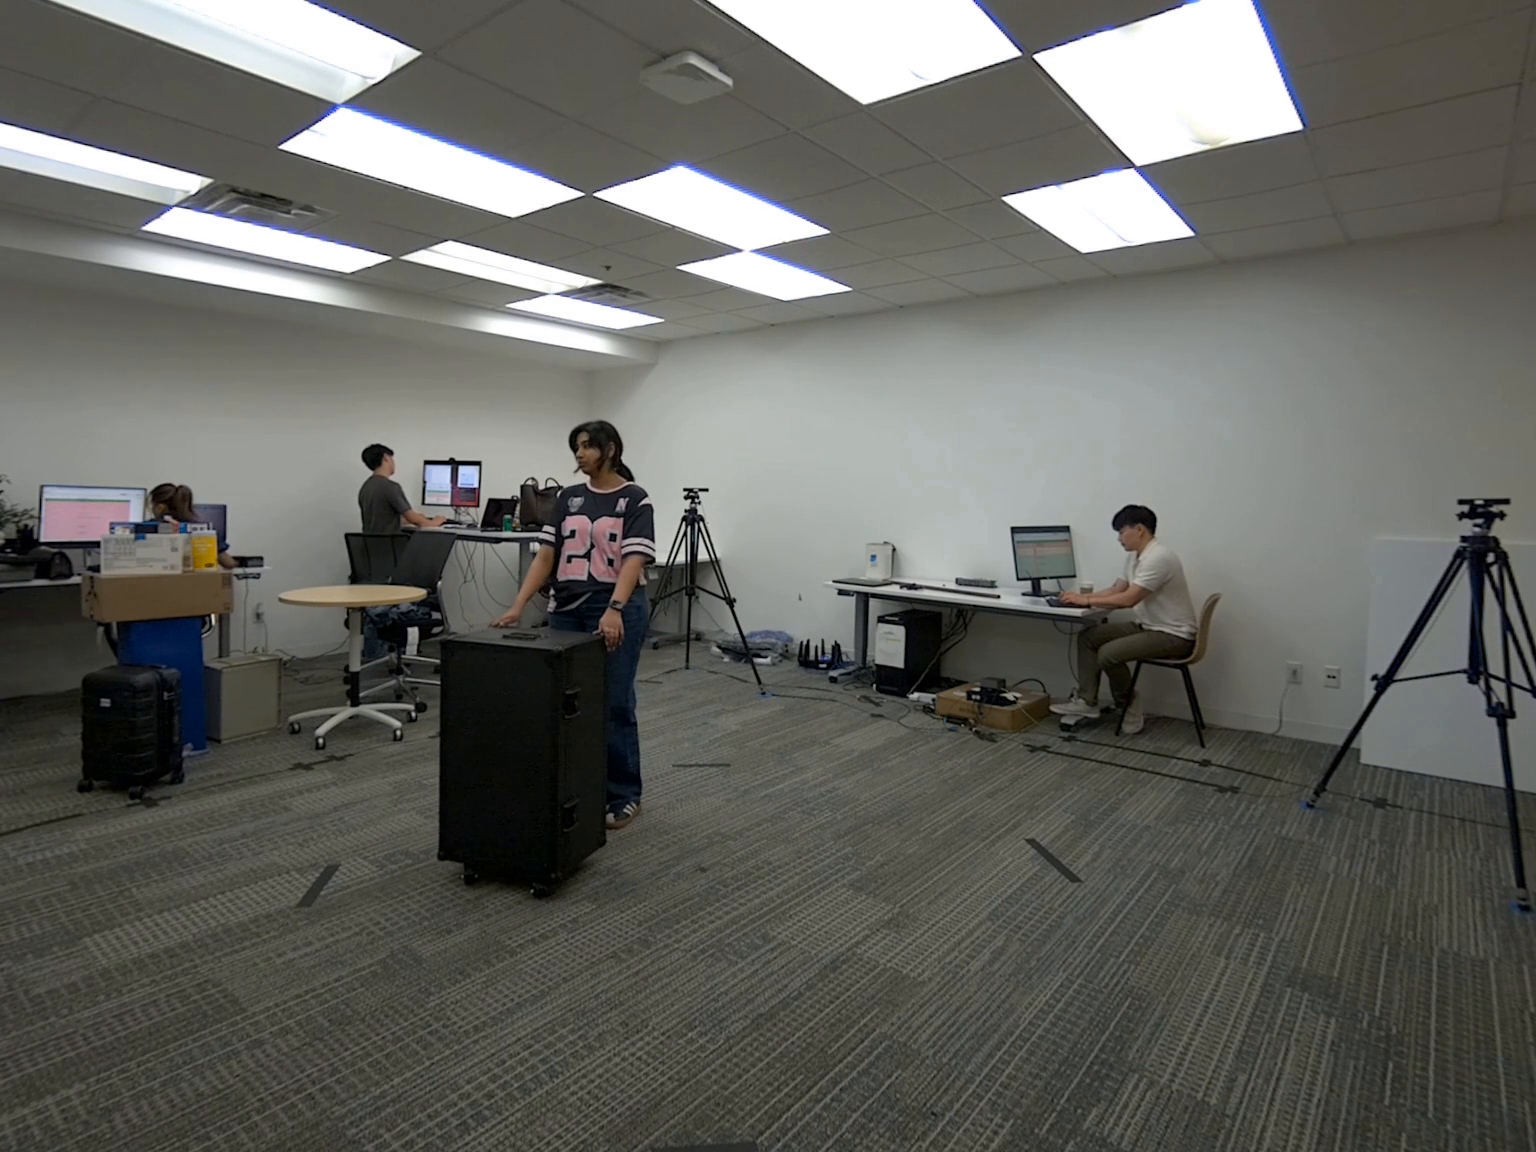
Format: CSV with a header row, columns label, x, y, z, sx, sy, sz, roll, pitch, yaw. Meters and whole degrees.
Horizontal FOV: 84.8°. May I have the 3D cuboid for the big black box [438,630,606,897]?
label,x,y,z,sx,sy,sz,roll,pitch,yaw
big black box,-0.891,0.640,3.059,0.534,0.866,0.378,3,3,19
